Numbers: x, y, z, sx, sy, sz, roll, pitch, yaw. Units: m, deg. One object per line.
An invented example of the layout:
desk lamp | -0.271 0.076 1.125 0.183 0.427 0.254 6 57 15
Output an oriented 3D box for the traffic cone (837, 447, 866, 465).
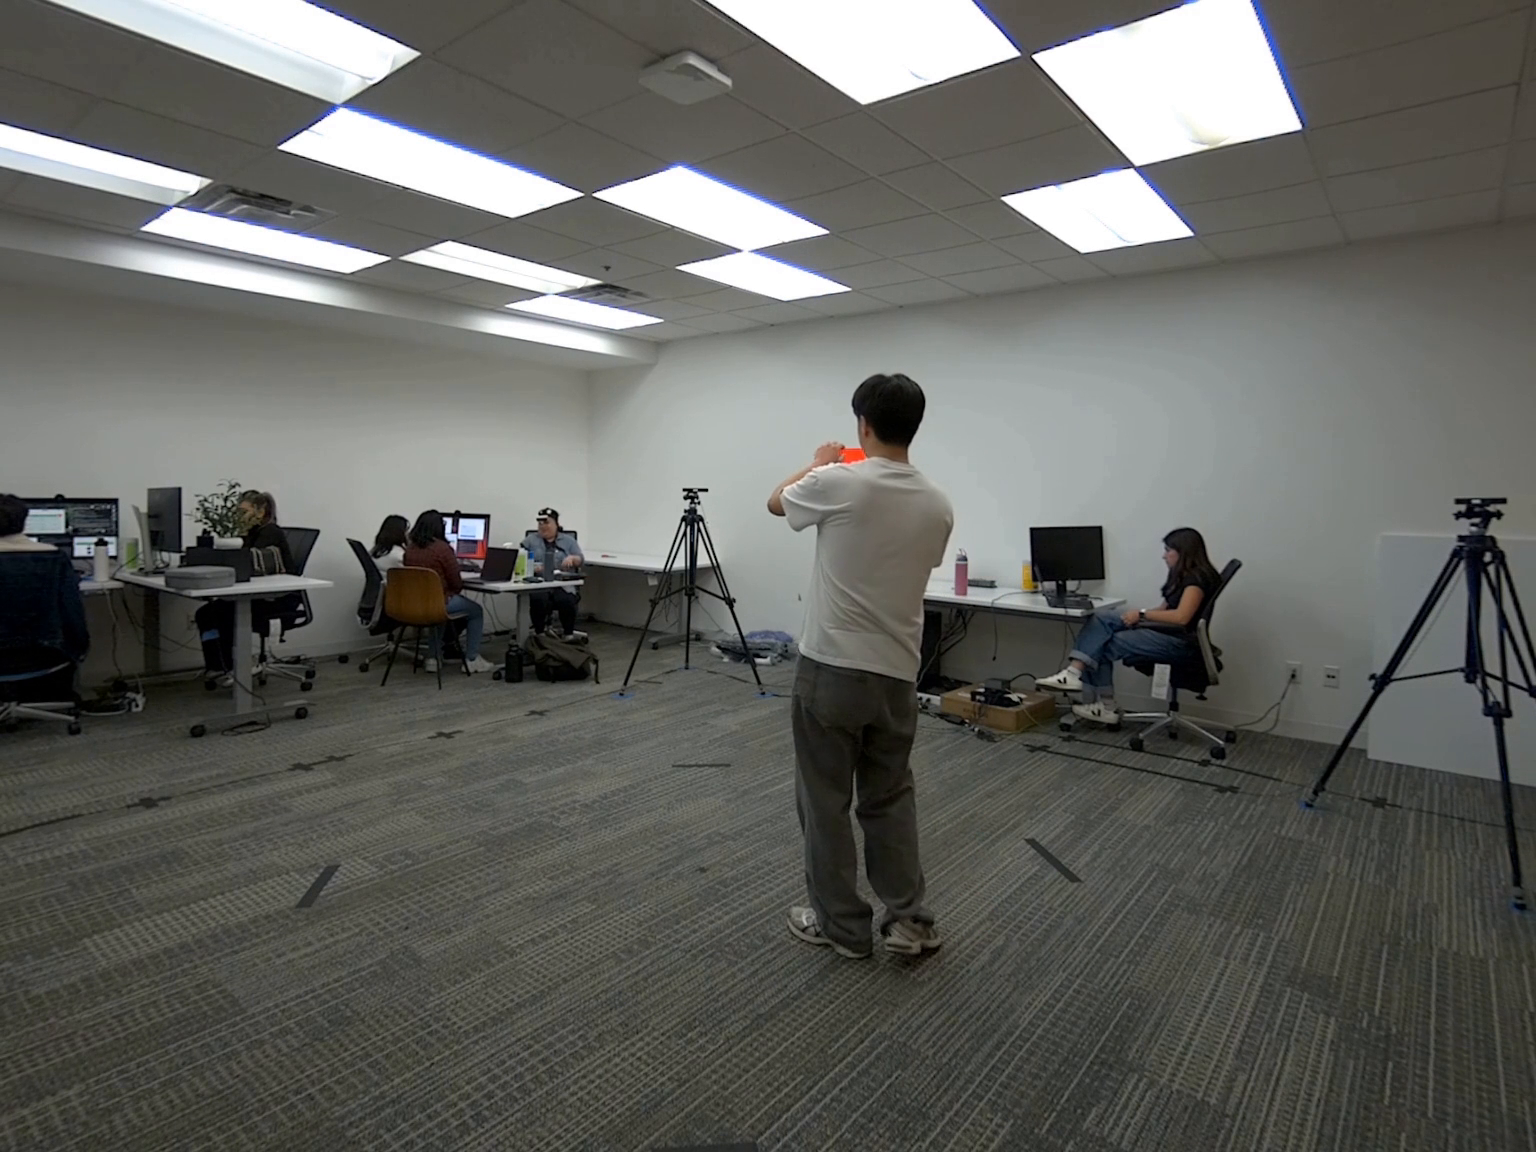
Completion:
traffic cone | 0.282 -0.261 3.009 0.203 0.383 0.205 0 3 0
